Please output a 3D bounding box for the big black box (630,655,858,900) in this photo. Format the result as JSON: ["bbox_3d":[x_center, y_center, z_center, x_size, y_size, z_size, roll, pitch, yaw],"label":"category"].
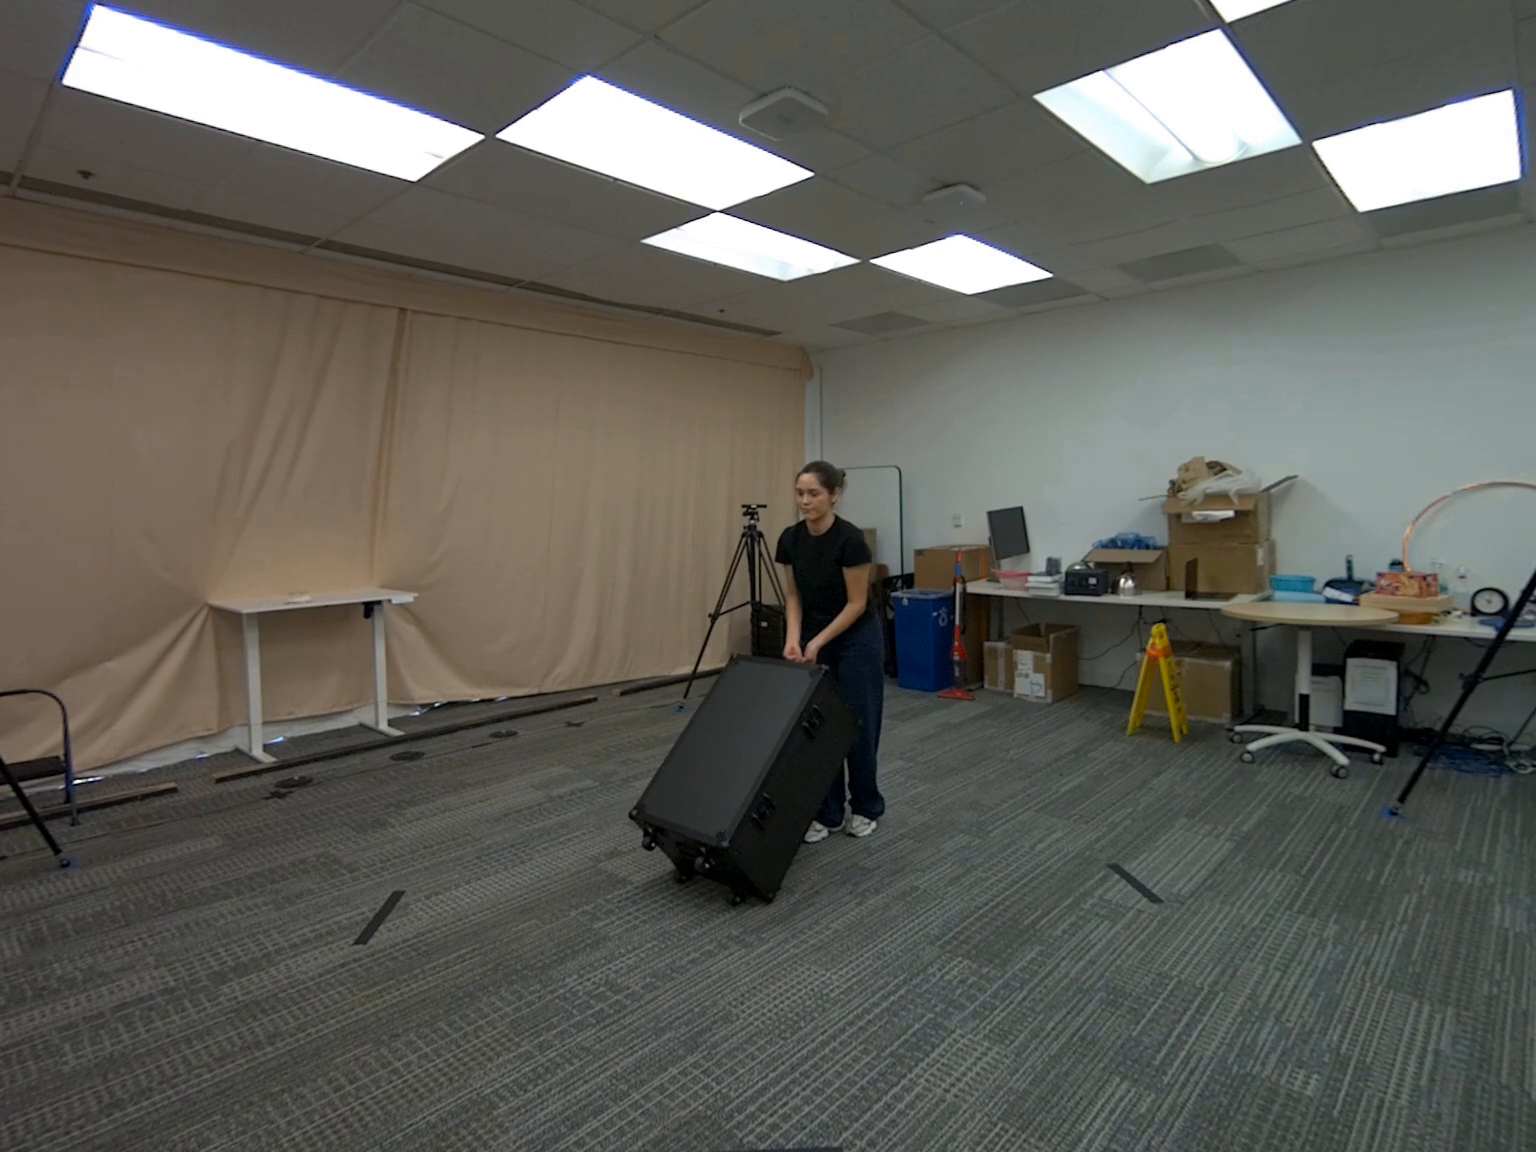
[{"bbox_3d":[-0.074,0.758,3.186,0.538,0.385,0.859,2,46,41],"label":"big black box"}]
